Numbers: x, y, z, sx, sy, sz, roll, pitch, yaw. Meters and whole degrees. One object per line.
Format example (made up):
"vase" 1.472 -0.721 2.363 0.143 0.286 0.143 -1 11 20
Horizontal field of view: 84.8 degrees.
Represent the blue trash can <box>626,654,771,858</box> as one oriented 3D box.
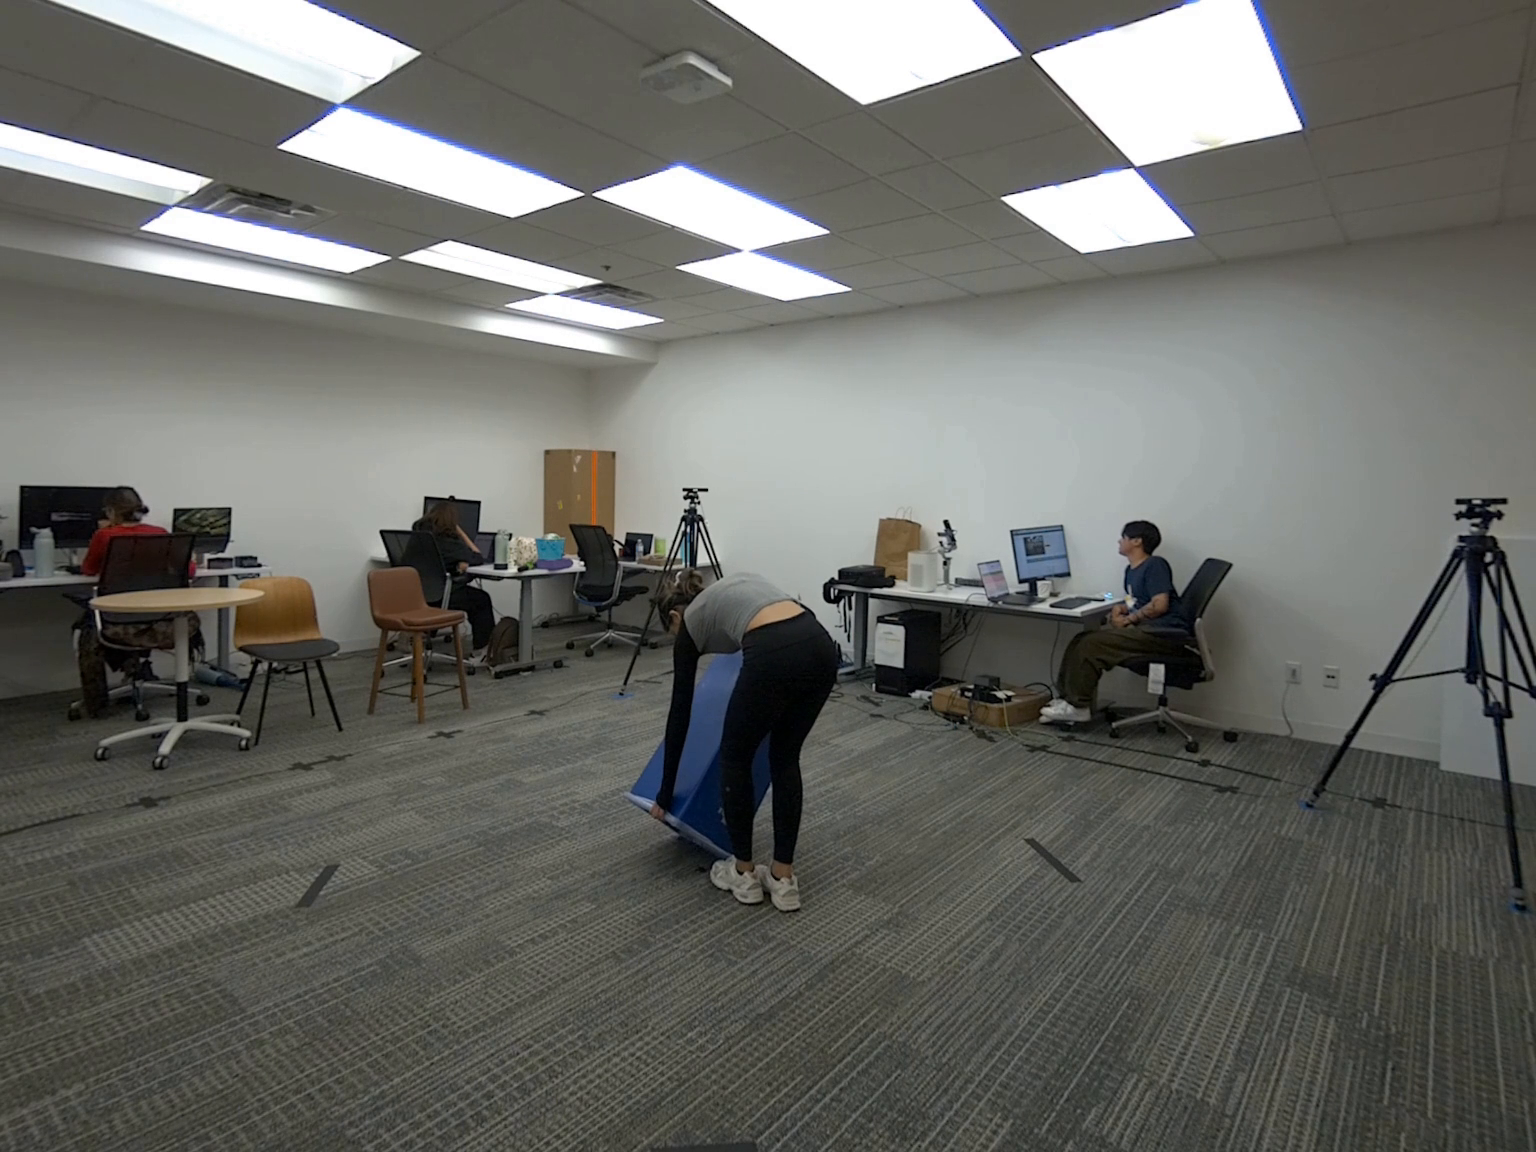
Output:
"blue trash can" -0.188 0.662 3.314 0.391 0.717 0.360 4 -32 50
